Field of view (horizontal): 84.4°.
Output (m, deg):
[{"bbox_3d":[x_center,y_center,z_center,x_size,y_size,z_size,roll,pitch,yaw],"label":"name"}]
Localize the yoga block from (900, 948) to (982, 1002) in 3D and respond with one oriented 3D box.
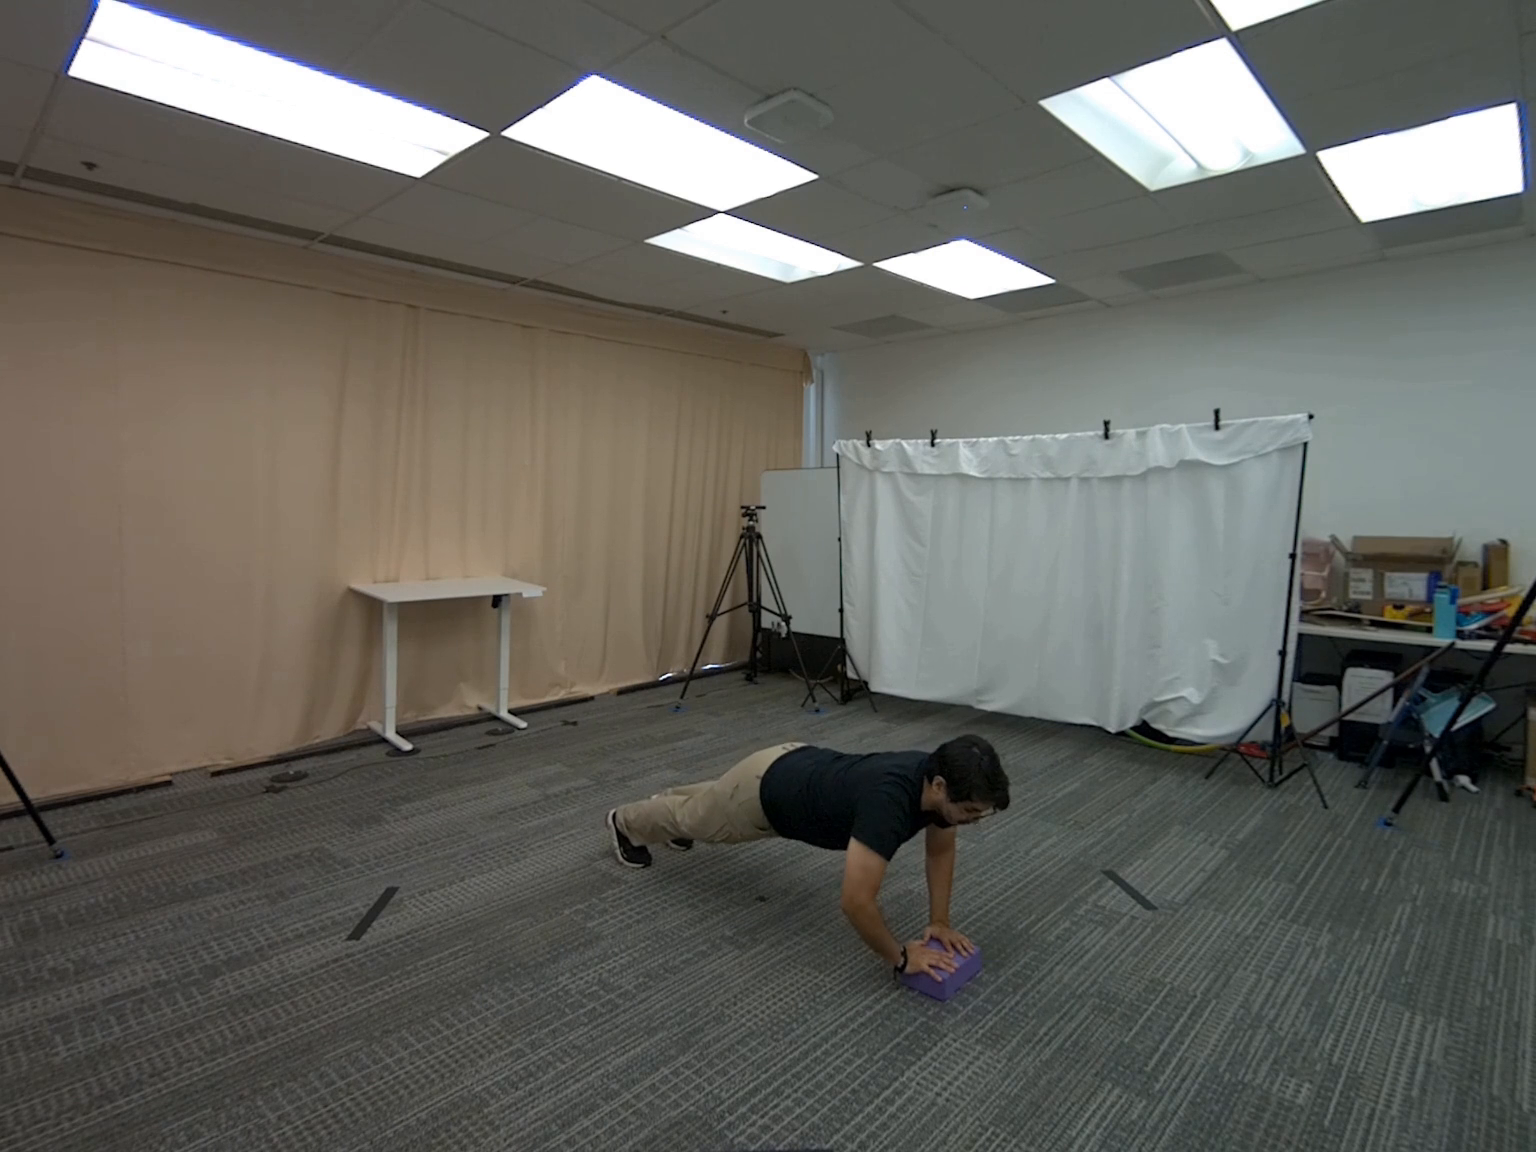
[{"bbox_3d":[0.515,1.149,2.483,0.154,0.076,0.222,5,6,40],"label":"yoga block"}]
